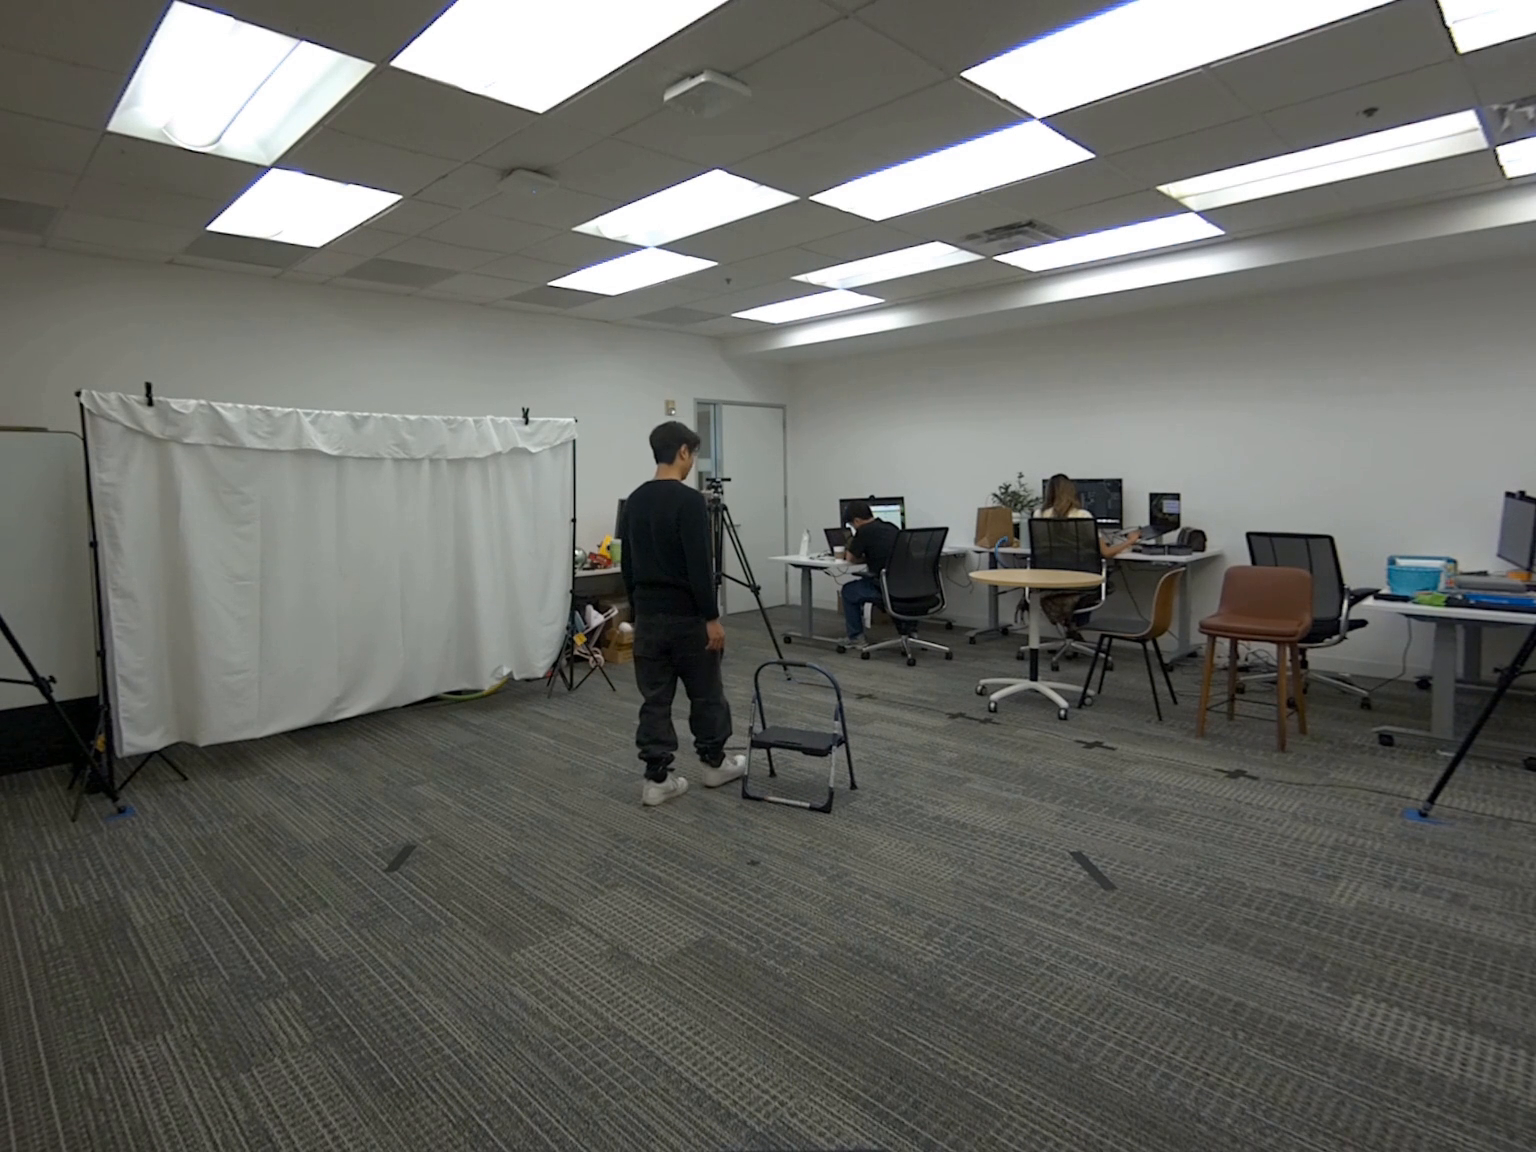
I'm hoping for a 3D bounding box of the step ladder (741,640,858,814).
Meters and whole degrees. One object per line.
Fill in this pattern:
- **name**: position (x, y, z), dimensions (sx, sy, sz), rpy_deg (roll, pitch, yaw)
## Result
- **step ladder**: position (0.138, 0.661, 3.772), dimensions (0.441, 0.604, 0.342), rpy_deg (0, 4, 26)
